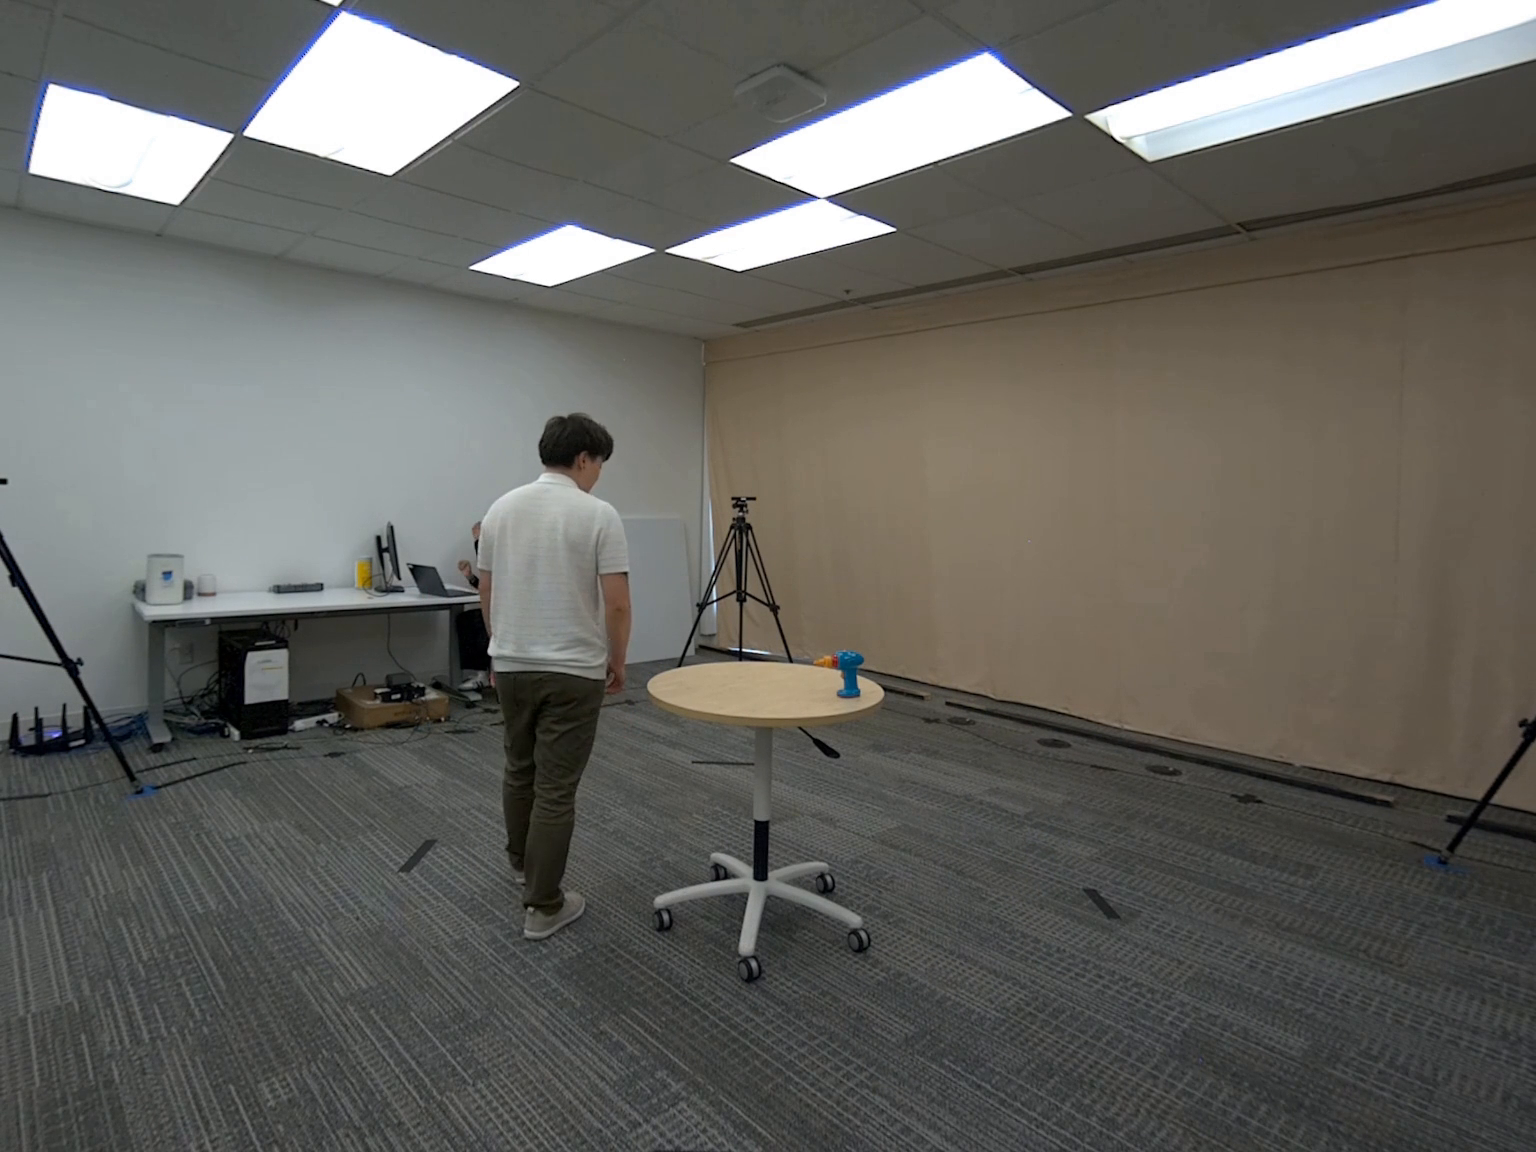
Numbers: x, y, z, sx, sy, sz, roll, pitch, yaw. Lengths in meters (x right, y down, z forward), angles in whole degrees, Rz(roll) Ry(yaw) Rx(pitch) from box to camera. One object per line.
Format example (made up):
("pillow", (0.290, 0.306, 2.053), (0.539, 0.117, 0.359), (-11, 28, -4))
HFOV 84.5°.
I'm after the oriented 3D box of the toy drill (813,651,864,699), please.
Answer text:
("toy drill", (0.212, 0.303, 2.611), (0.167, 0.146, 0.062), (0, 3, -22))
